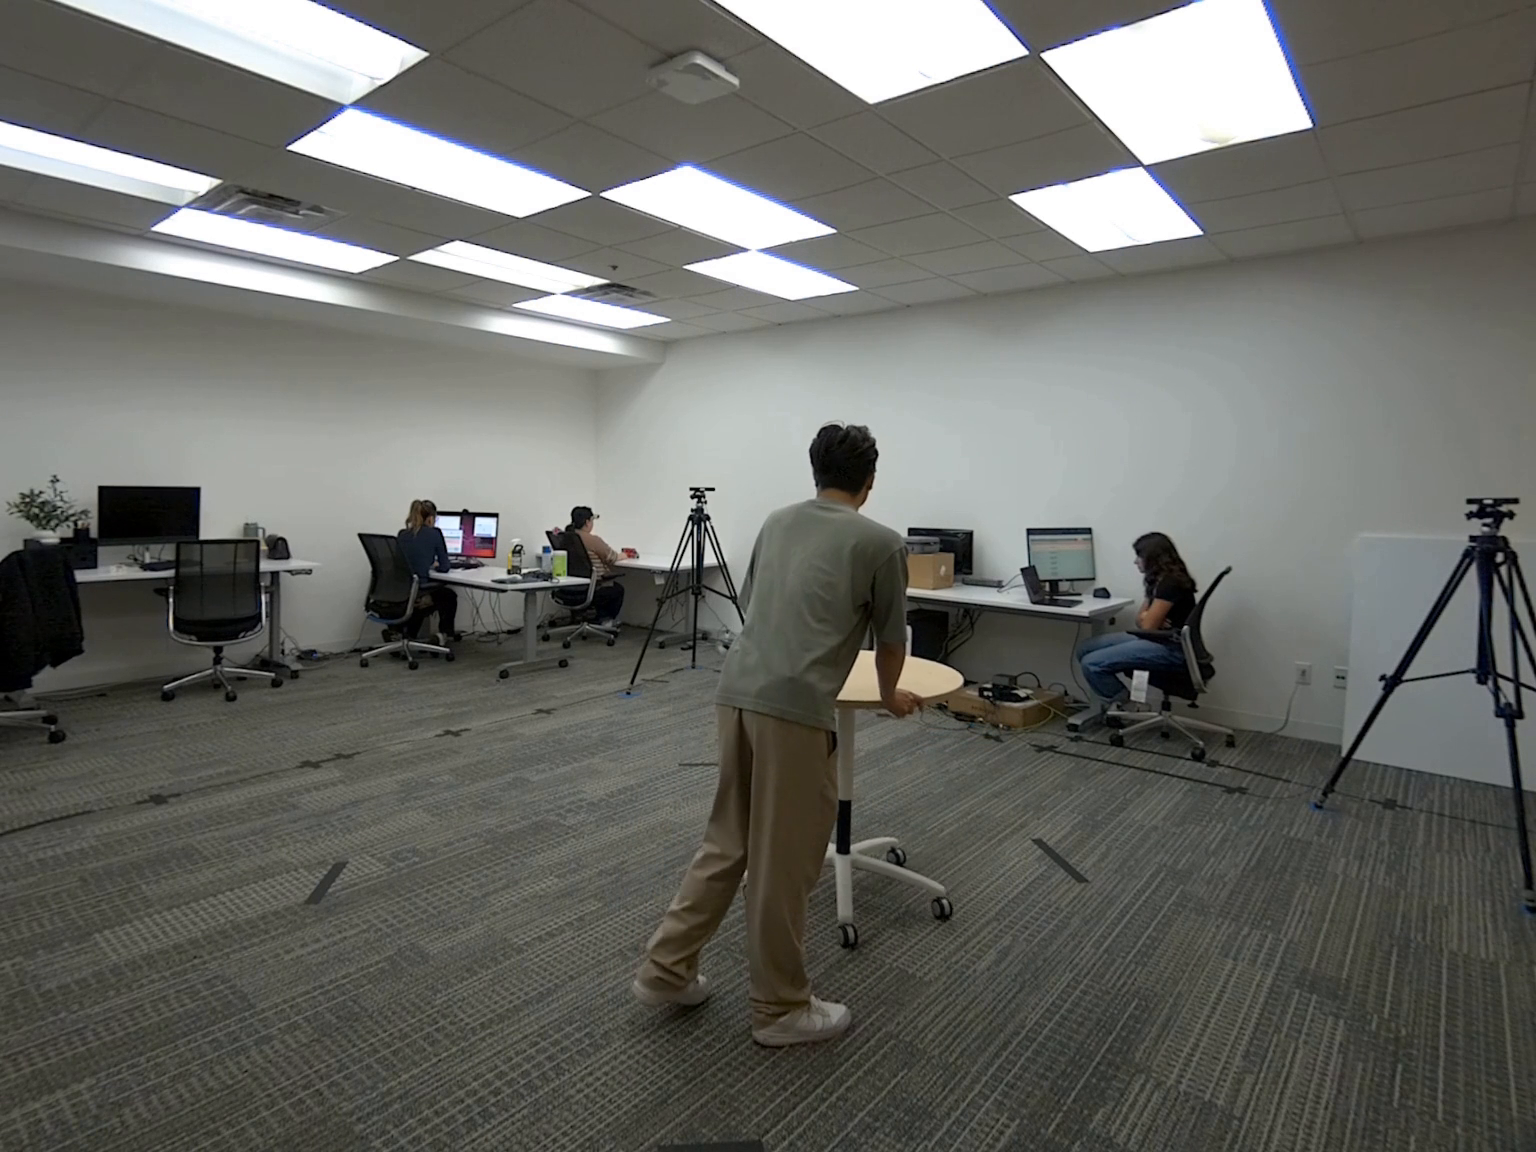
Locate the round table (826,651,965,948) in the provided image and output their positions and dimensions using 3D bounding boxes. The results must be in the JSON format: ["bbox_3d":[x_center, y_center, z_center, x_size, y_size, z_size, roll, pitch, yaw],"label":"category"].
[{"bbox_3d":[0.275,0.707,2.937,0.784,0.783,0.789,1,5,-2],"label":"round table"}]
